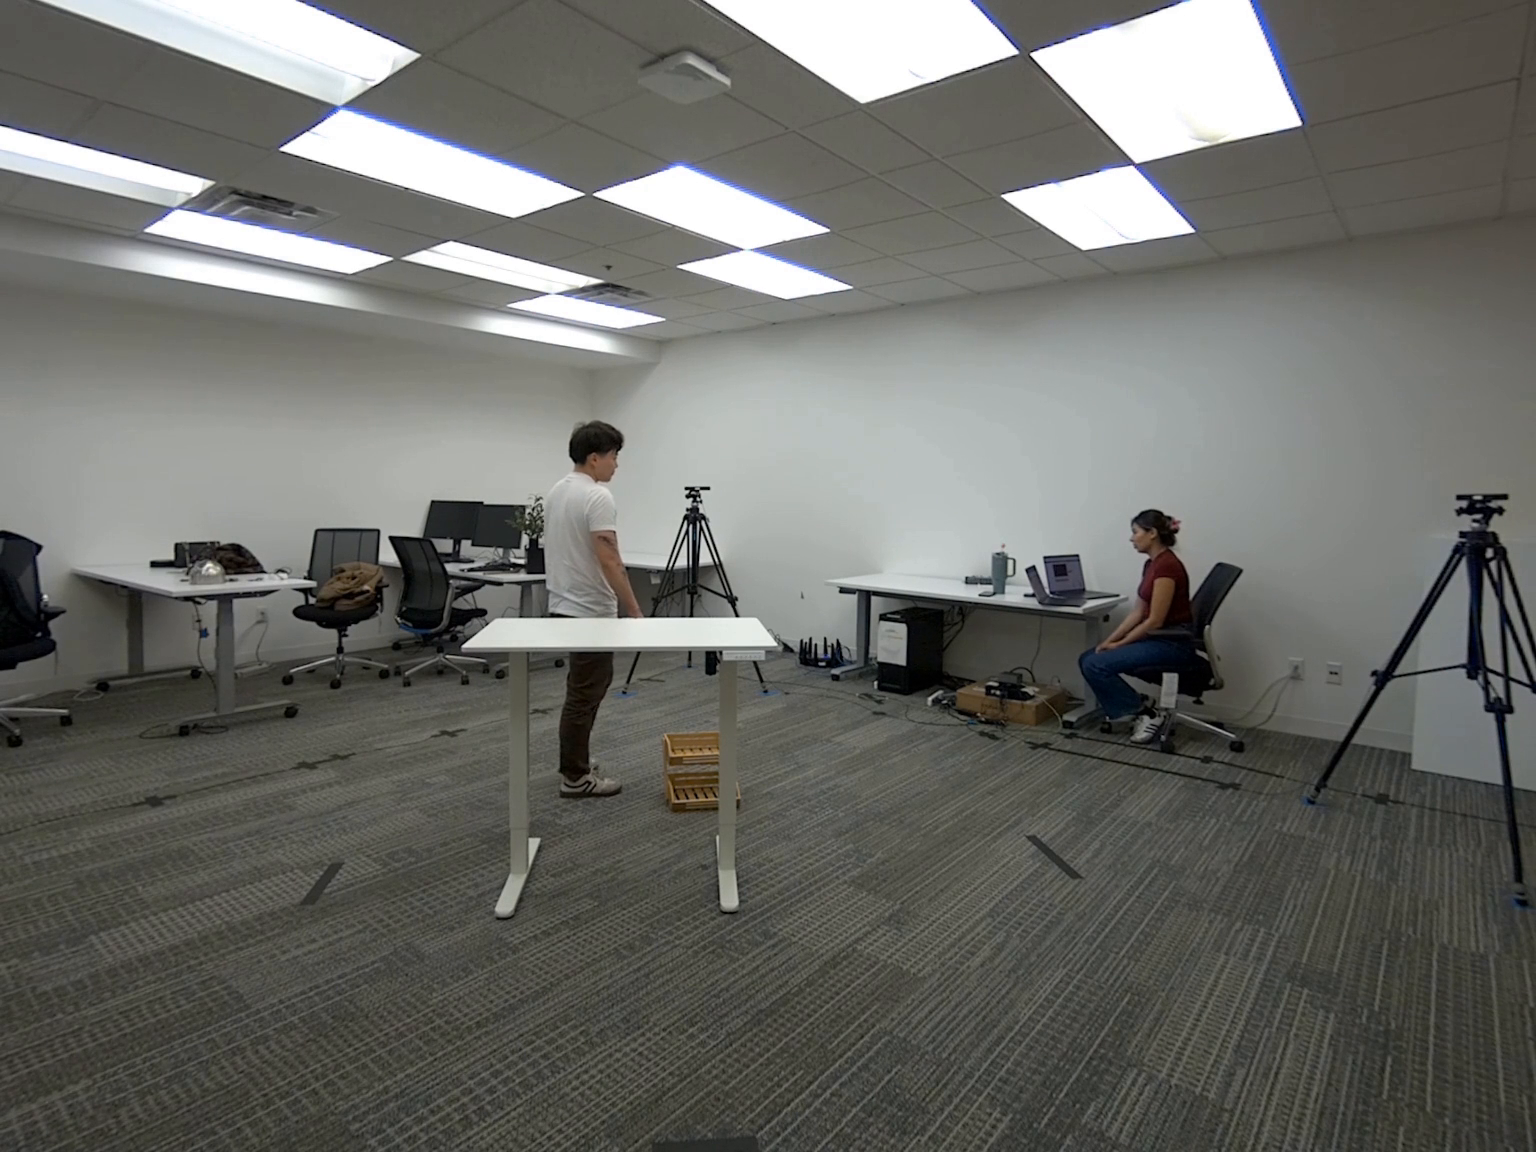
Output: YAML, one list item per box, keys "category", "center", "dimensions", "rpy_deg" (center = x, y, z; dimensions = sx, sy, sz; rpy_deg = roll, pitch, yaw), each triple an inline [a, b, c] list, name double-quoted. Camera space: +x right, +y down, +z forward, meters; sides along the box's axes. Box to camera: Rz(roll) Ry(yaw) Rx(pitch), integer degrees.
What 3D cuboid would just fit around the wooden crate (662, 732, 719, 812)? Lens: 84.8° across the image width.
- category: "wooden crate"
  center: [-0.311, 0.859, 3.800]
  dimensions: [0.320, 0.272, 0.307]
  rpy_deg: [0, 4, -14]
